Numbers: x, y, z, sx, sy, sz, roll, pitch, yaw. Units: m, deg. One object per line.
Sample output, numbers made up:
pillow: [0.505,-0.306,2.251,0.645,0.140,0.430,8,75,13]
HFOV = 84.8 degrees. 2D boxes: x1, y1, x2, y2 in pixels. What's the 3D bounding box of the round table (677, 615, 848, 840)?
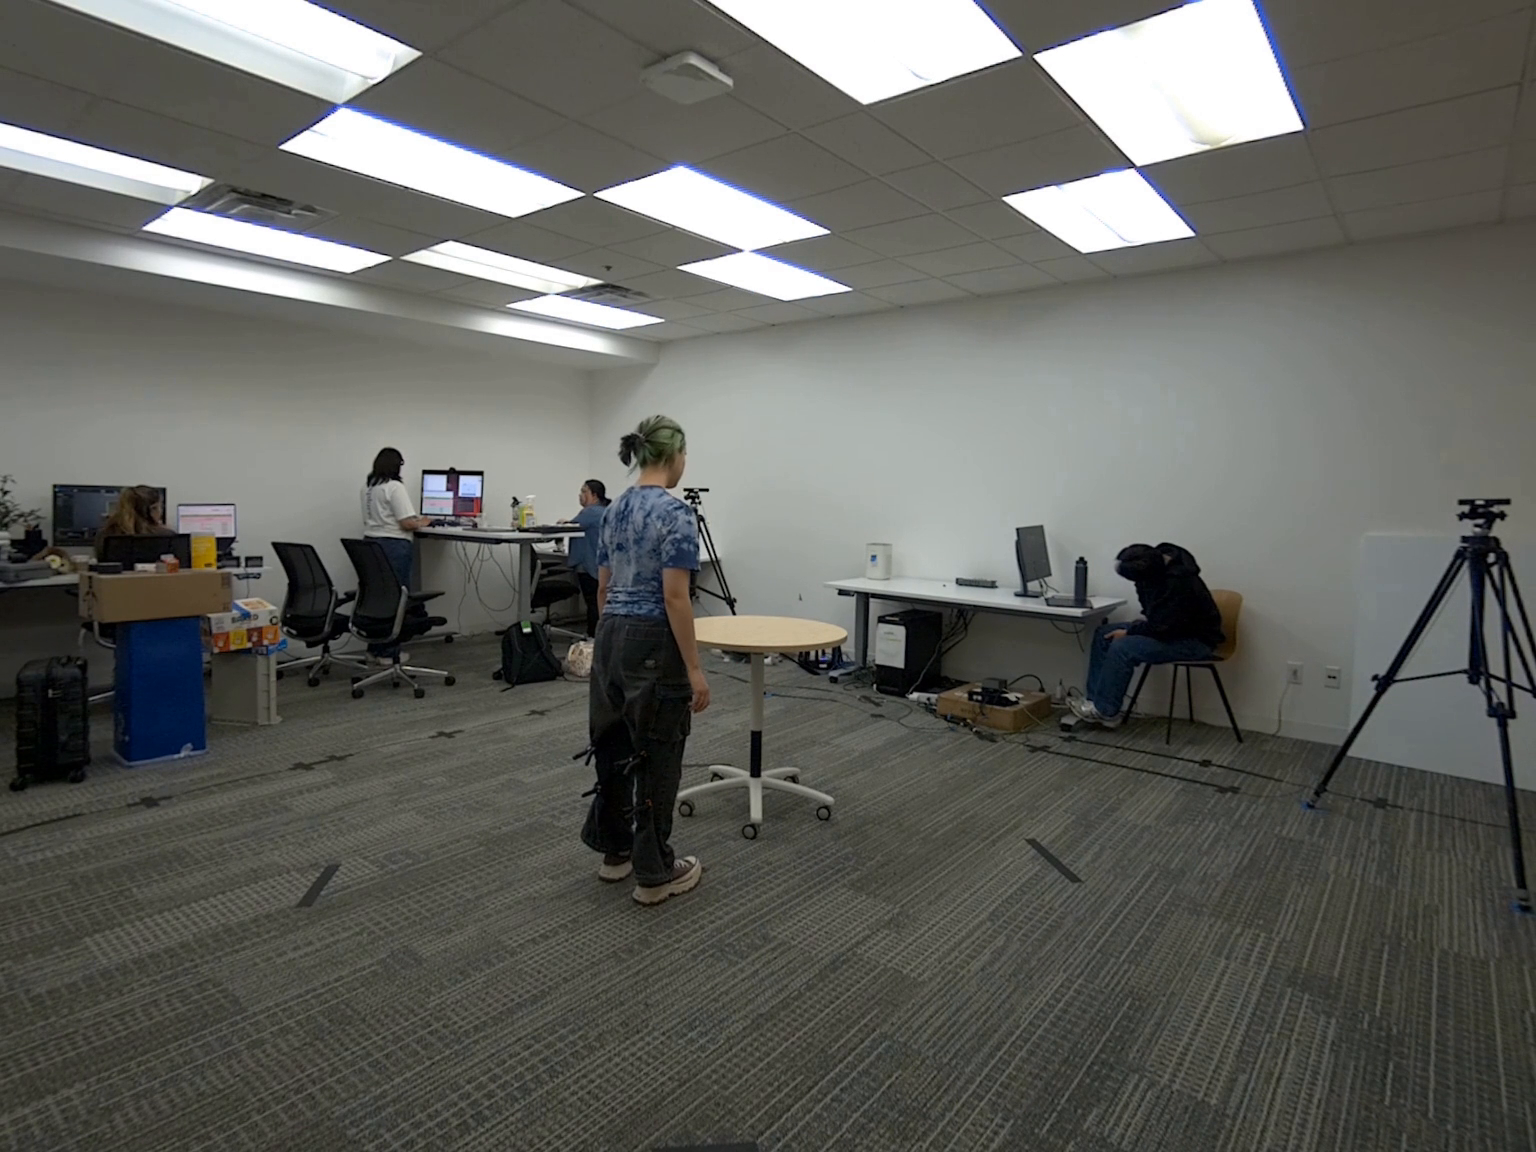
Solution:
round table: [-0.056,0.625,3.710,0.763,0.791,0.768,1,4,-2]
